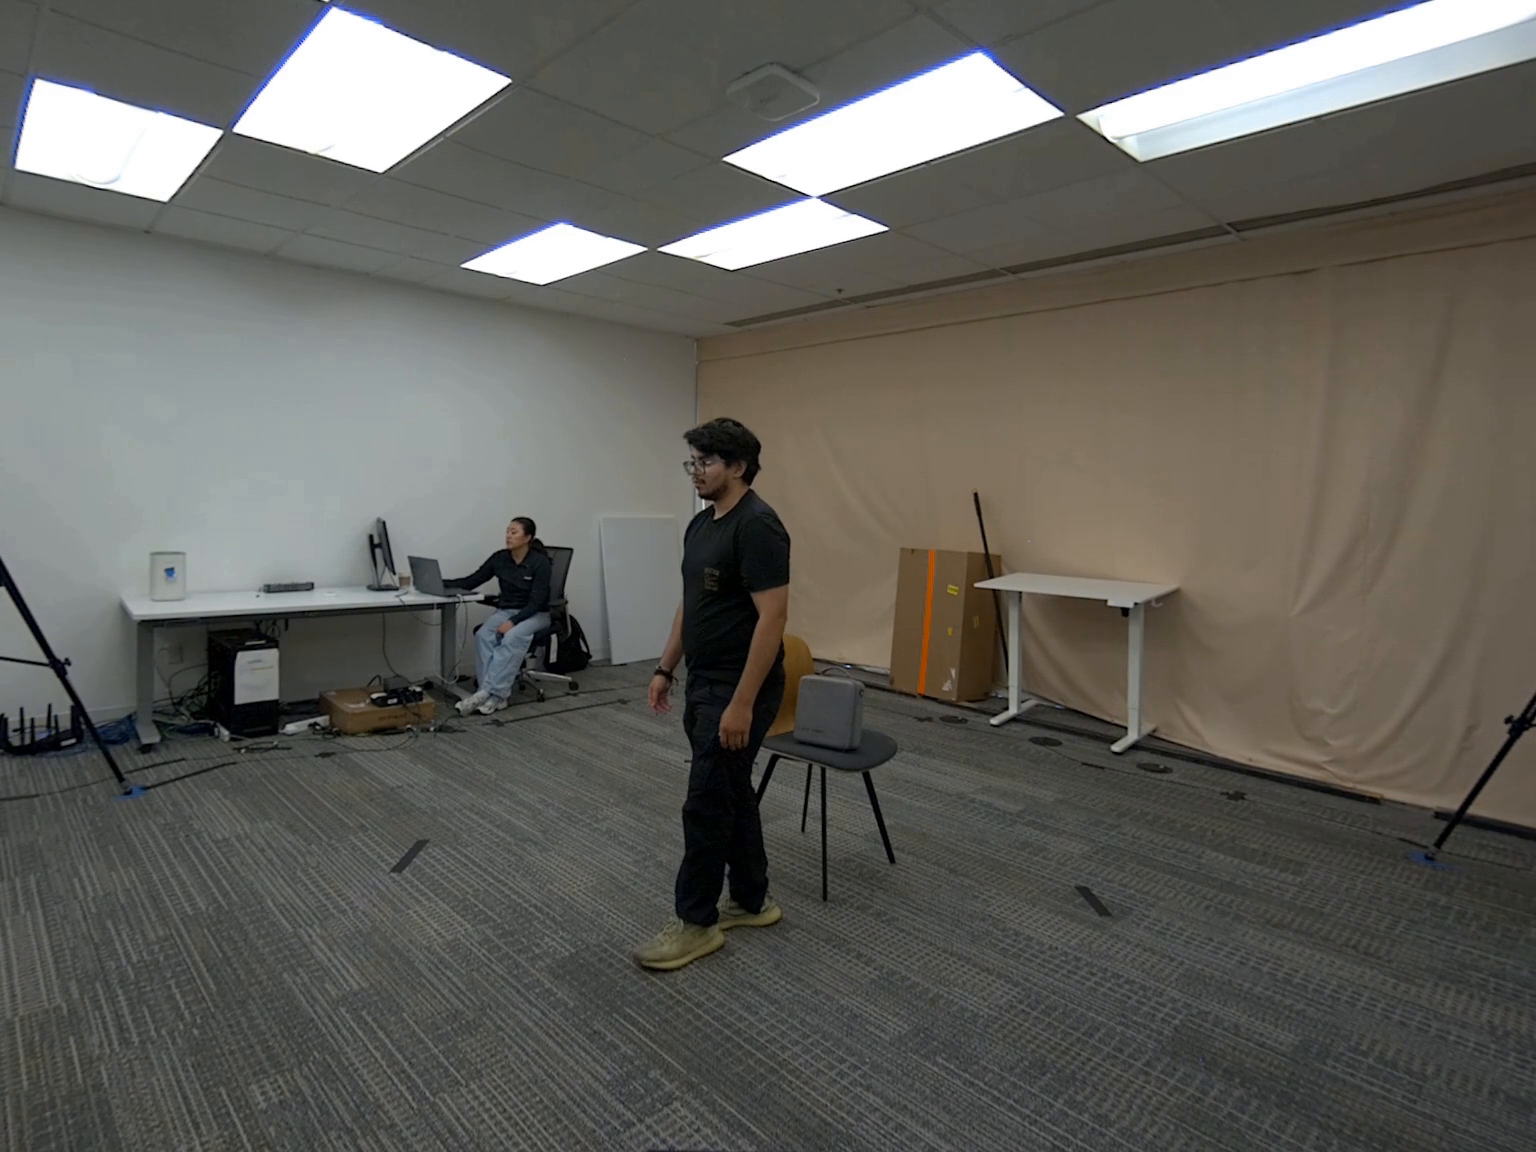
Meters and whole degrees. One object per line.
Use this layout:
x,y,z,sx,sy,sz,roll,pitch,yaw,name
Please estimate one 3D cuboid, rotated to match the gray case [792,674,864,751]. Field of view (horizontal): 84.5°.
0.221,0.503,3.143,0.263,0.262,0.101,0,-10,42,gray case
